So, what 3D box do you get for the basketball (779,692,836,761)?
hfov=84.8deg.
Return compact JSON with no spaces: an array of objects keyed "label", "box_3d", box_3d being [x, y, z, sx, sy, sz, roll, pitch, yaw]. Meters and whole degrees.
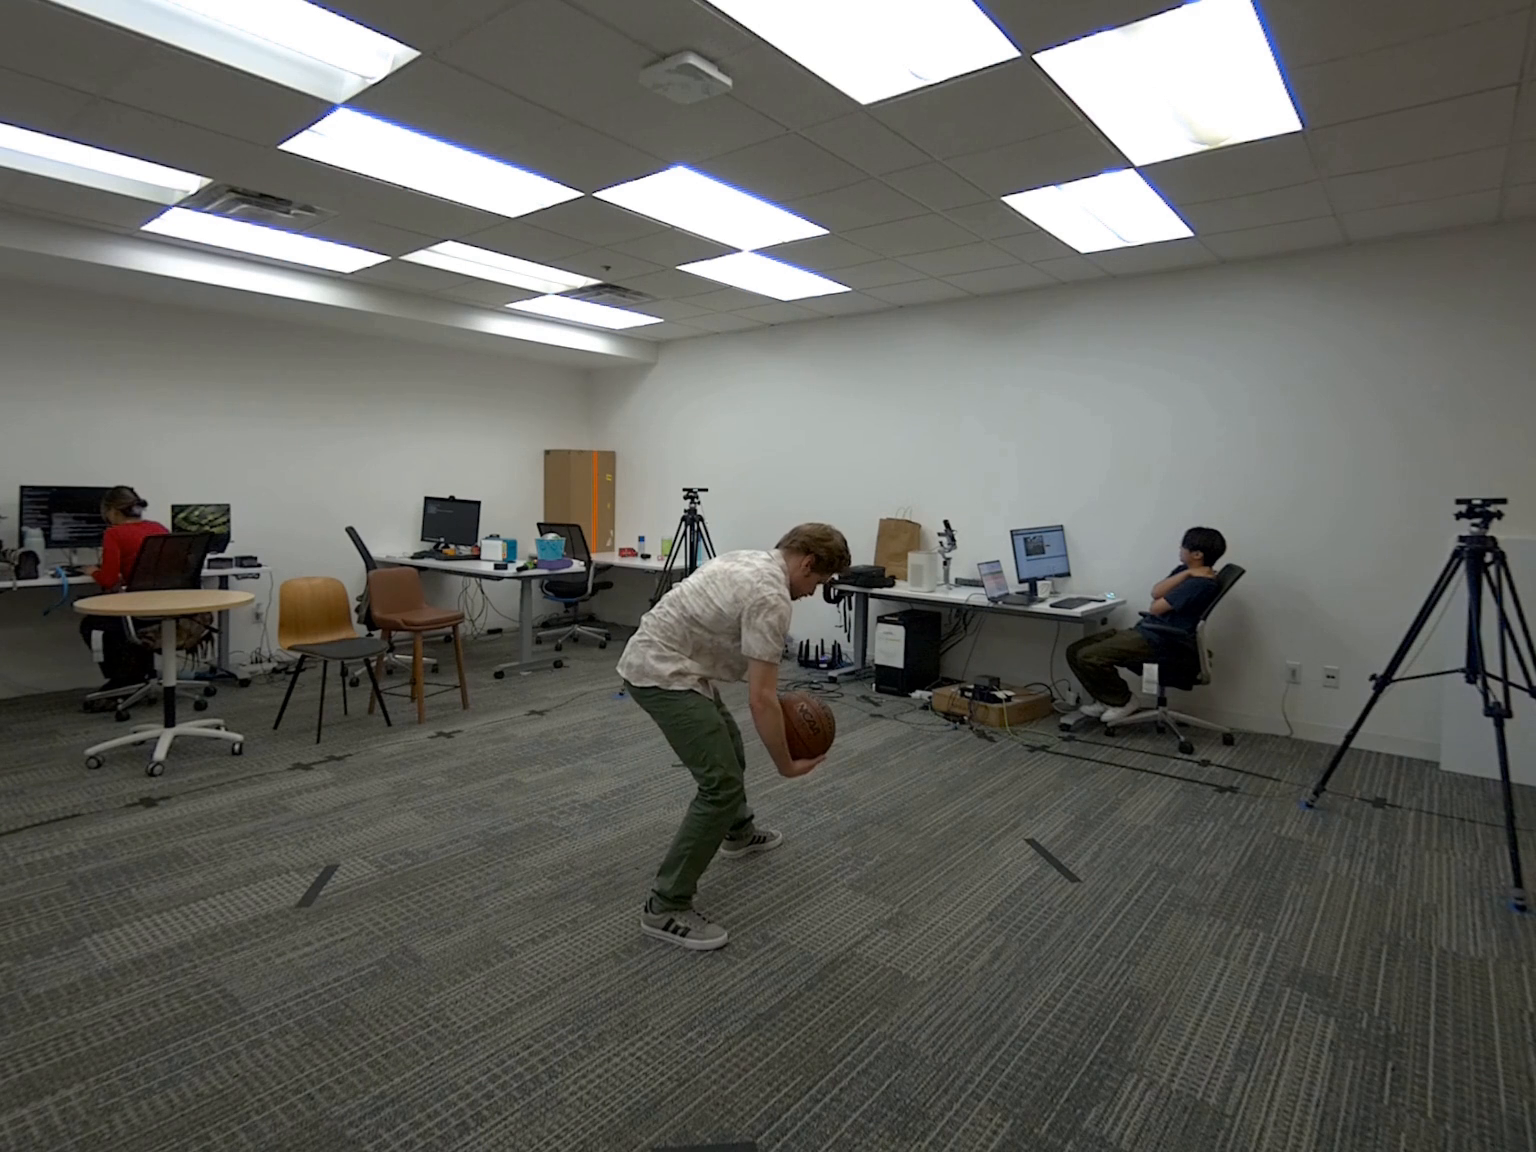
[{"label":"basketball","box_3d":[0.096,0.503,2.838,0.235,0.235,0.237,1,4,-2]}]
